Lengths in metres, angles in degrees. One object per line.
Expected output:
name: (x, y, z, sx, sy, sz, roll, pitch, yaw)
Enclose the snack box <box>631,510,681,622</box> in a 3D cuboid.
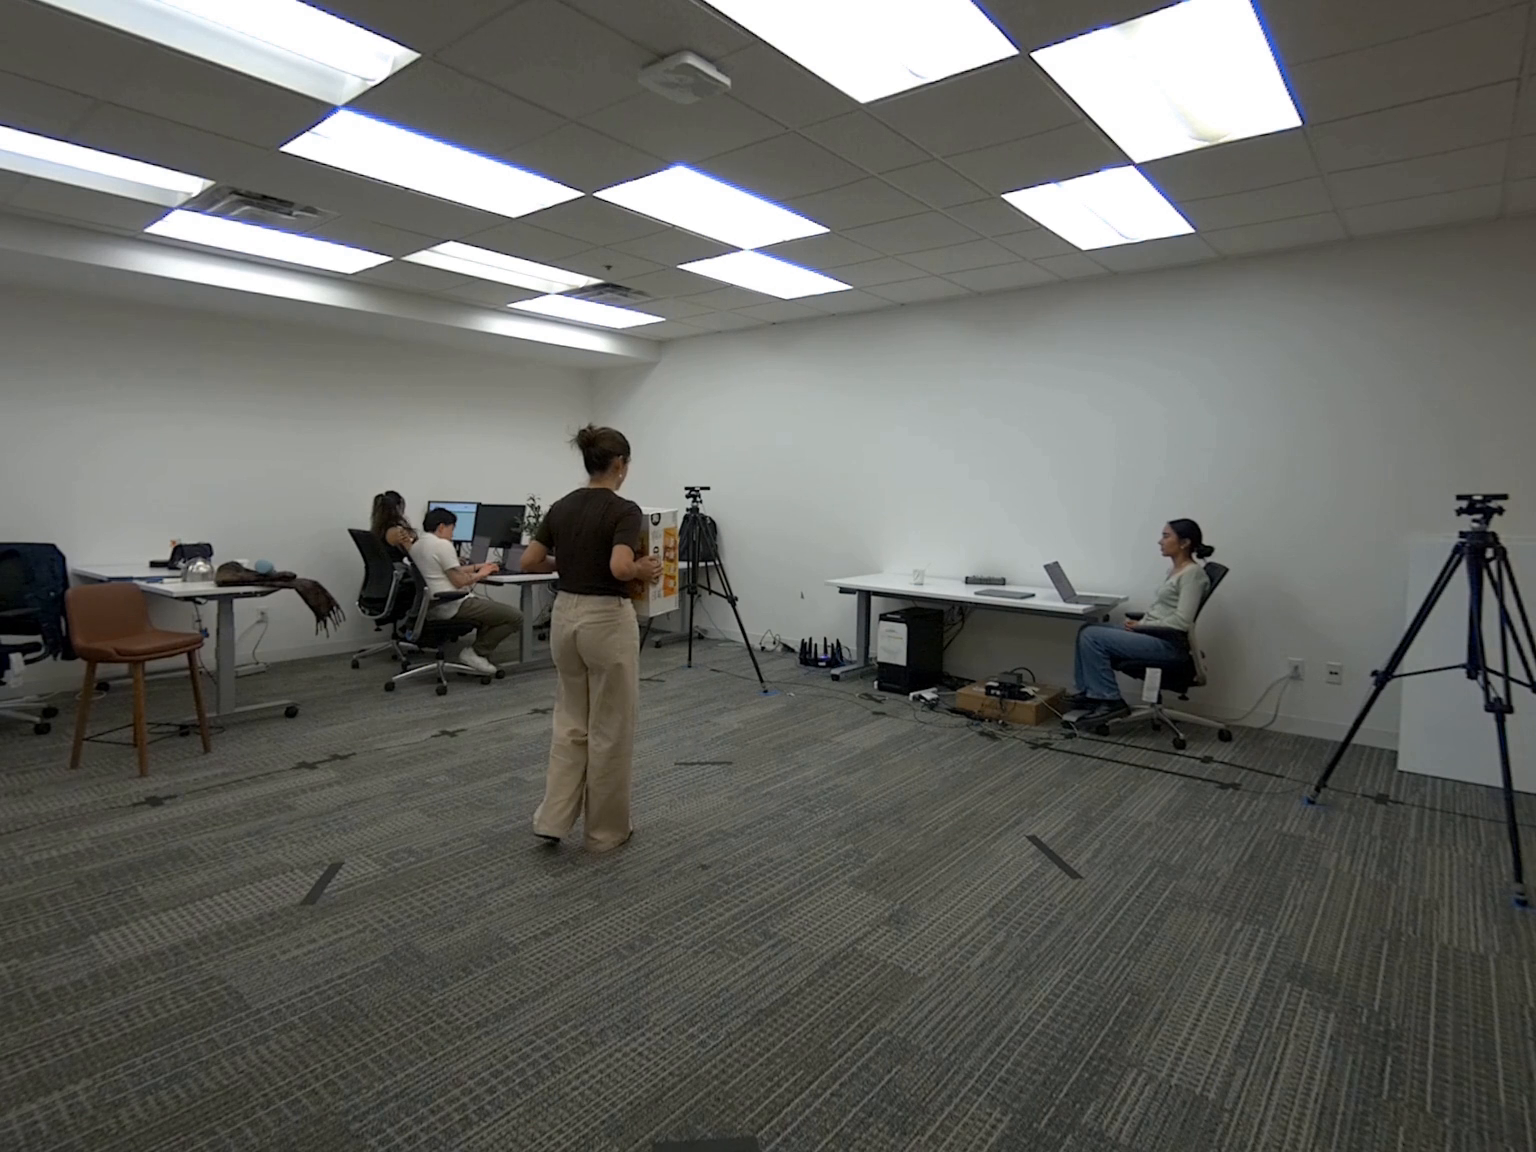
snack box: (-0.568, -0.075, 3.438, 0.351, 0.402, 0.201, 5, 9, 31)
